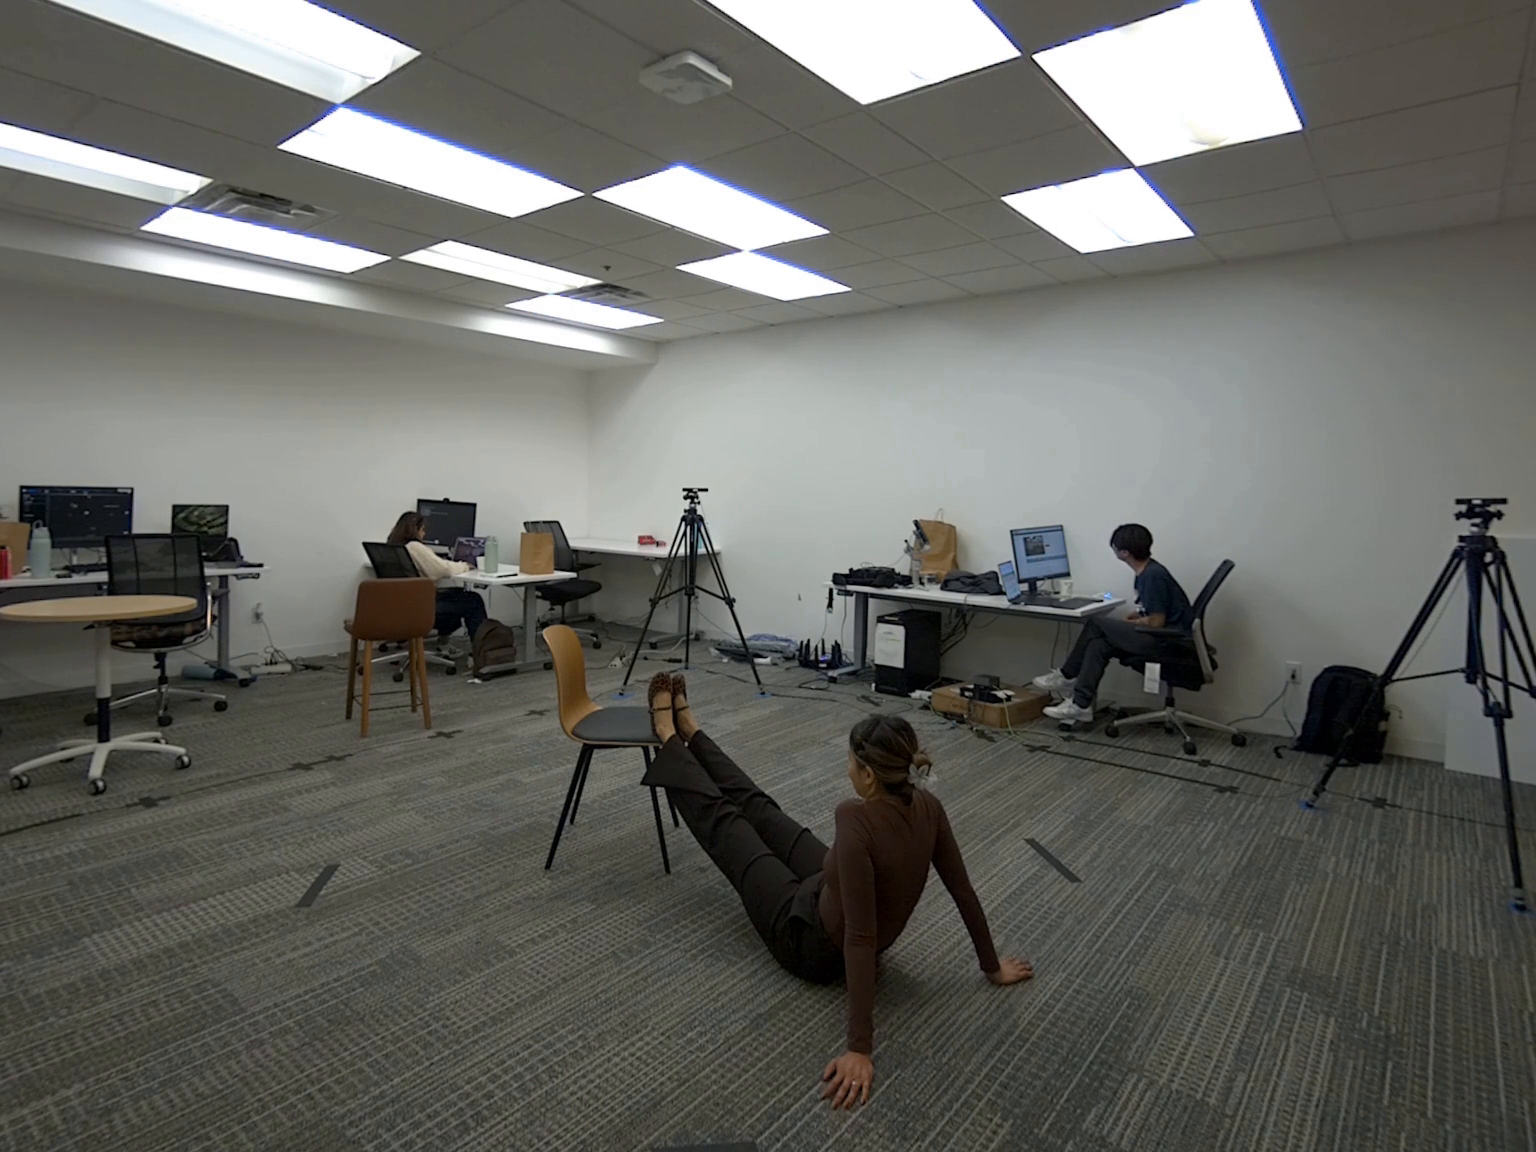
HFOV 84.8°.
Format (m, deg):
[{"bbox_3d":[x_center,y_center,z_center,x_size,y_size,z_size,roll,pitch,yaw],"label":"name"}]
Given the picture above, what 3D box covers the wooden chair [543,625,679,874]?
[{"bbox_3d":[-0.585,0.621,3.267,0.524,0.875,0.479,-3,3,1],"label":"wooden chair"}]
